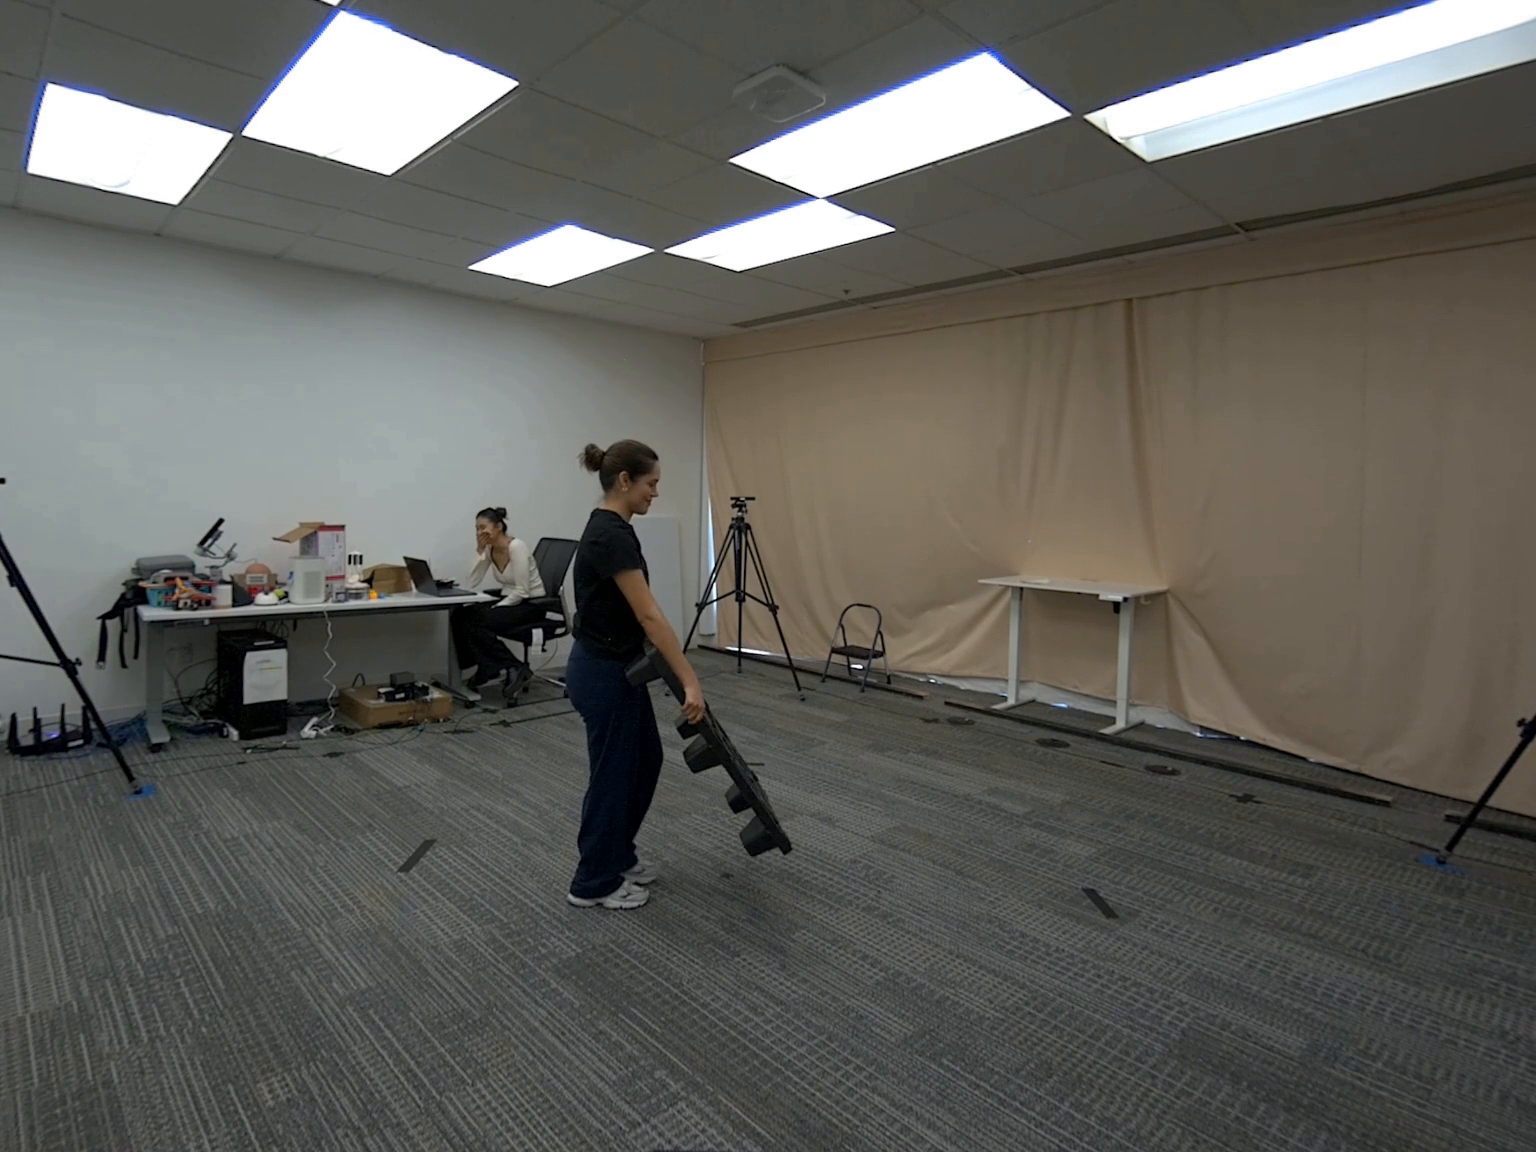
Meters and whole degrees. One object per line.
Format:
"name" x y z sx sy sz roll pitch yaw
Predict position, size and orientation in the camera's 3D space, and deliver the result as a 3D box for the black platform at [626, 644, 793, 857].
"black platform" -0.240 0.552 2.896 0.143 0.799 0.611 -33 8 -6
